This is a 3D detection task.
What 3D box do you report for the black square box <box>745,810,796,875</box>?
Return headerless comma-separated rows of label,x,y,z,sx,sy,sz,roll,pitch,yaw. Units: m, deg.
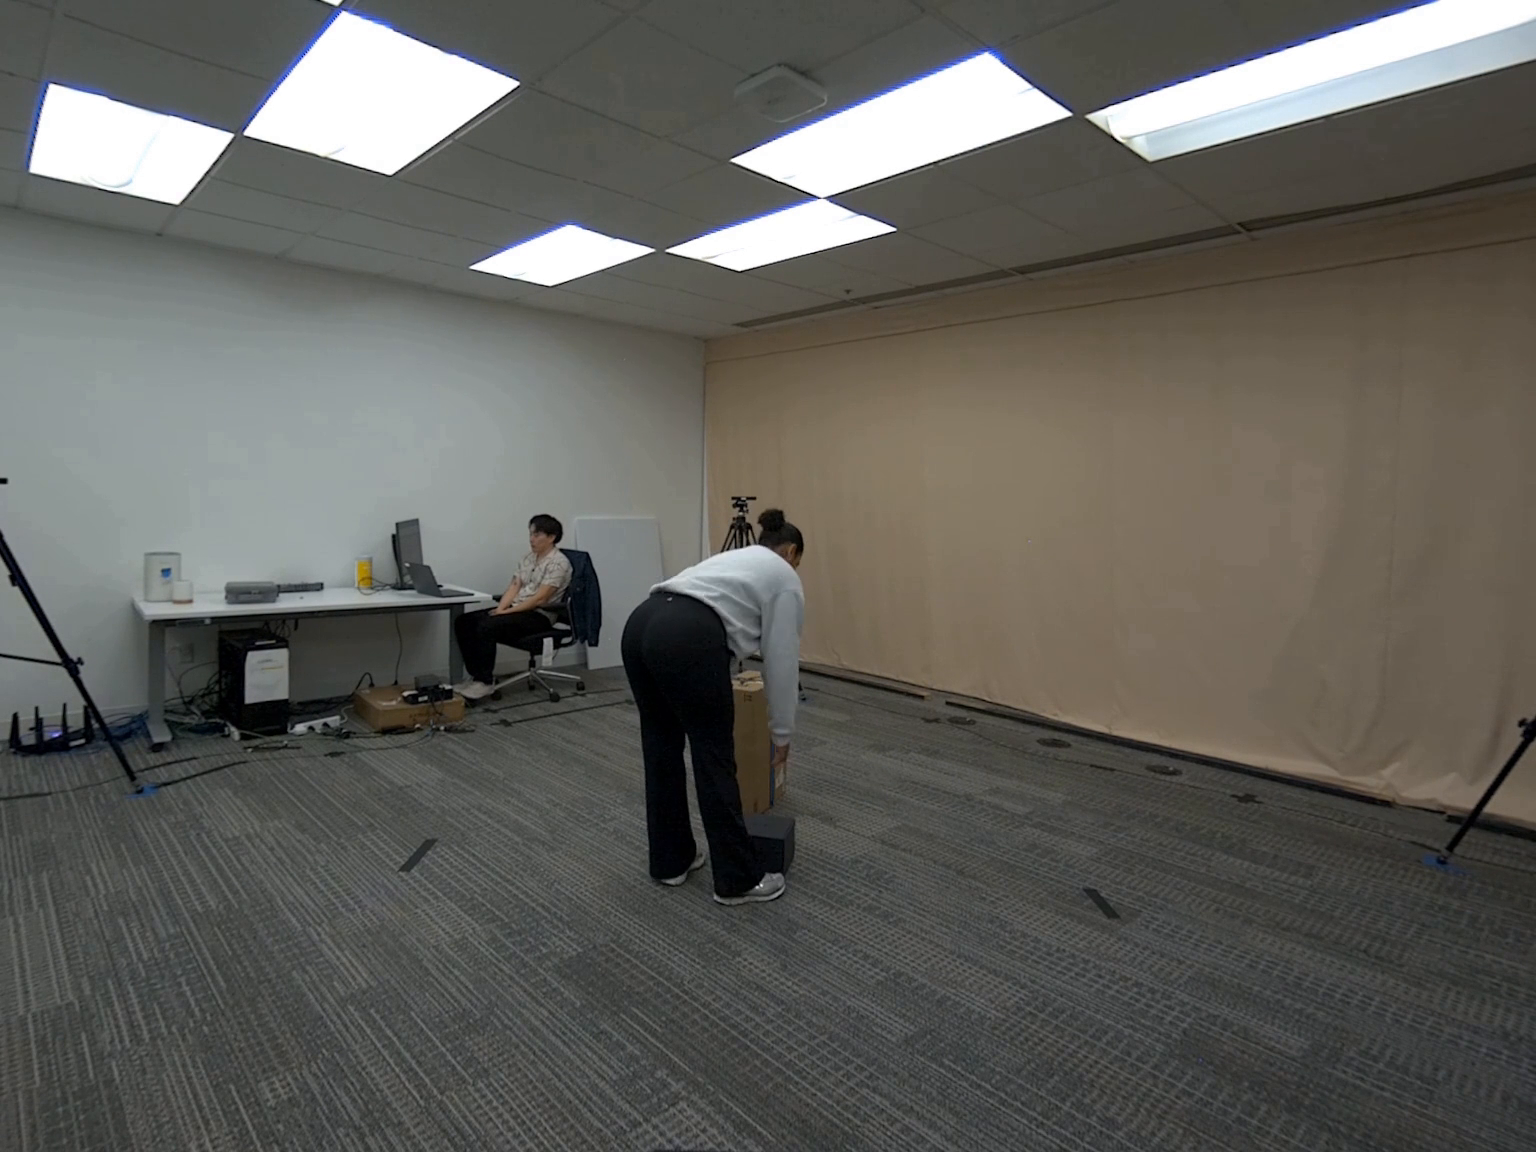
black square box,-0.041,1.015,3.191,0.231,0.155,0.215,2,5,14
